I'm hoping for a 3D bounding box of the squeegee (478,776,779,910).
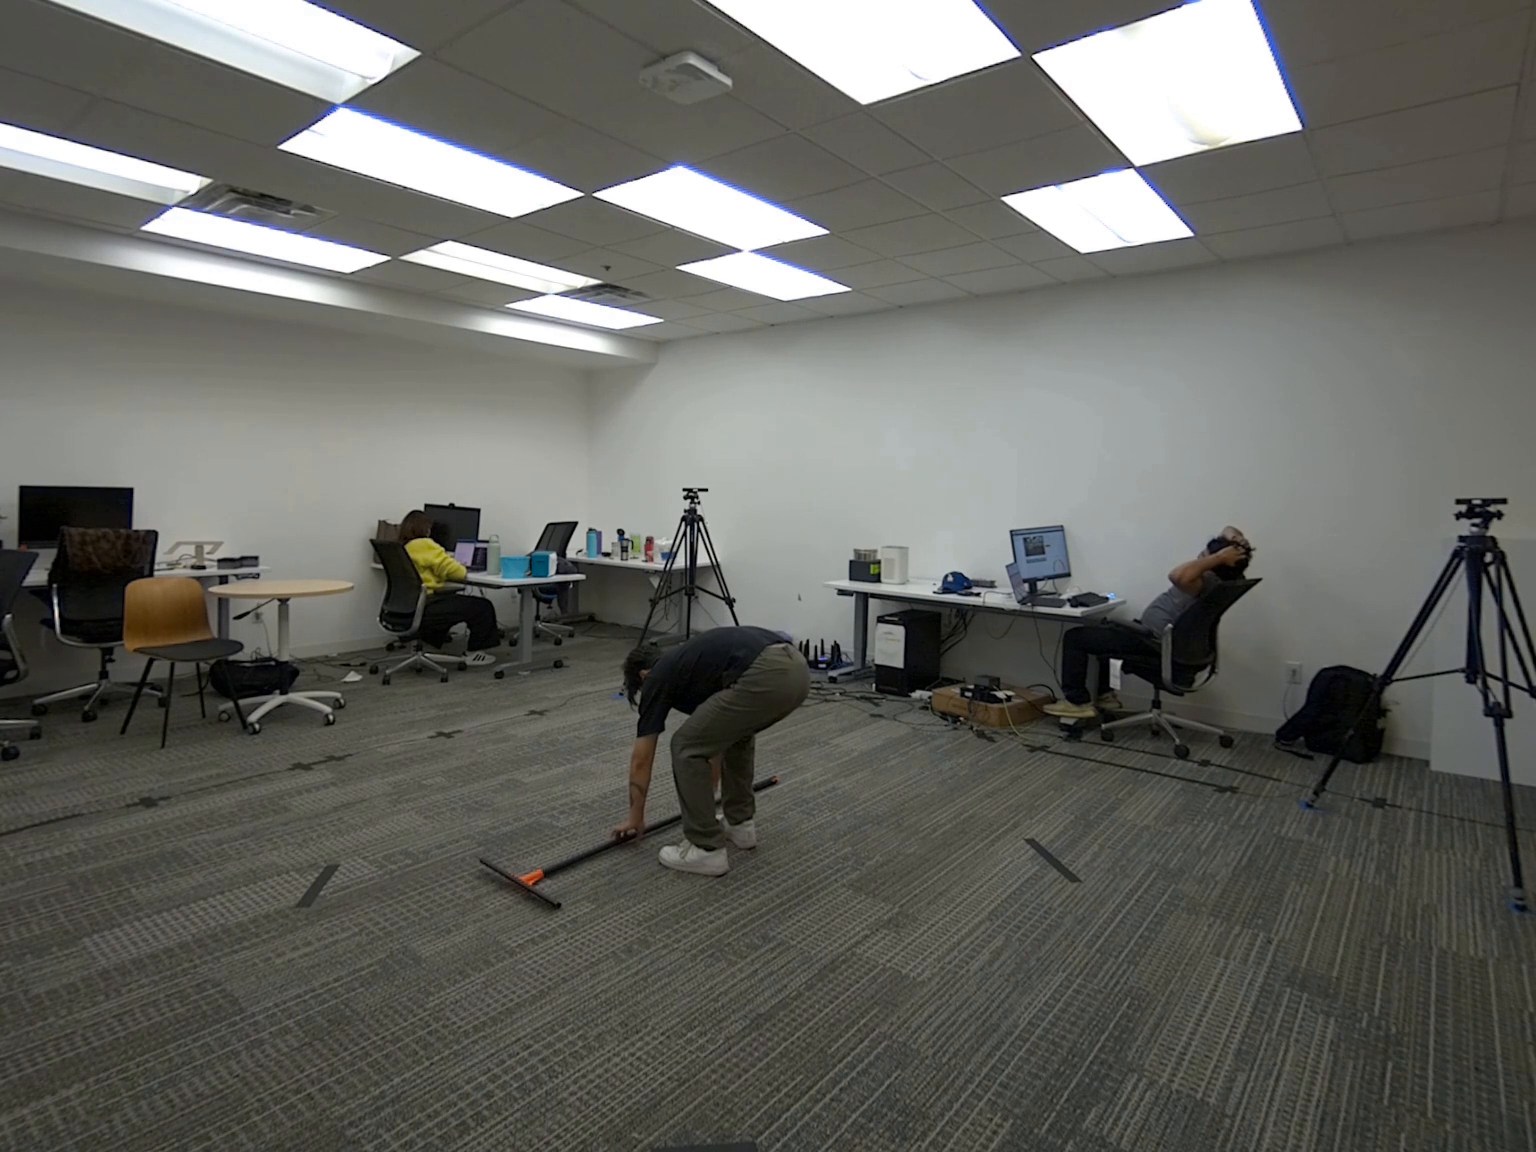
[{"bbox_3d":[-0.424,0.991,3.485,0.452,0.053,1.492,8,8,38],"label":"squeegee"}]
